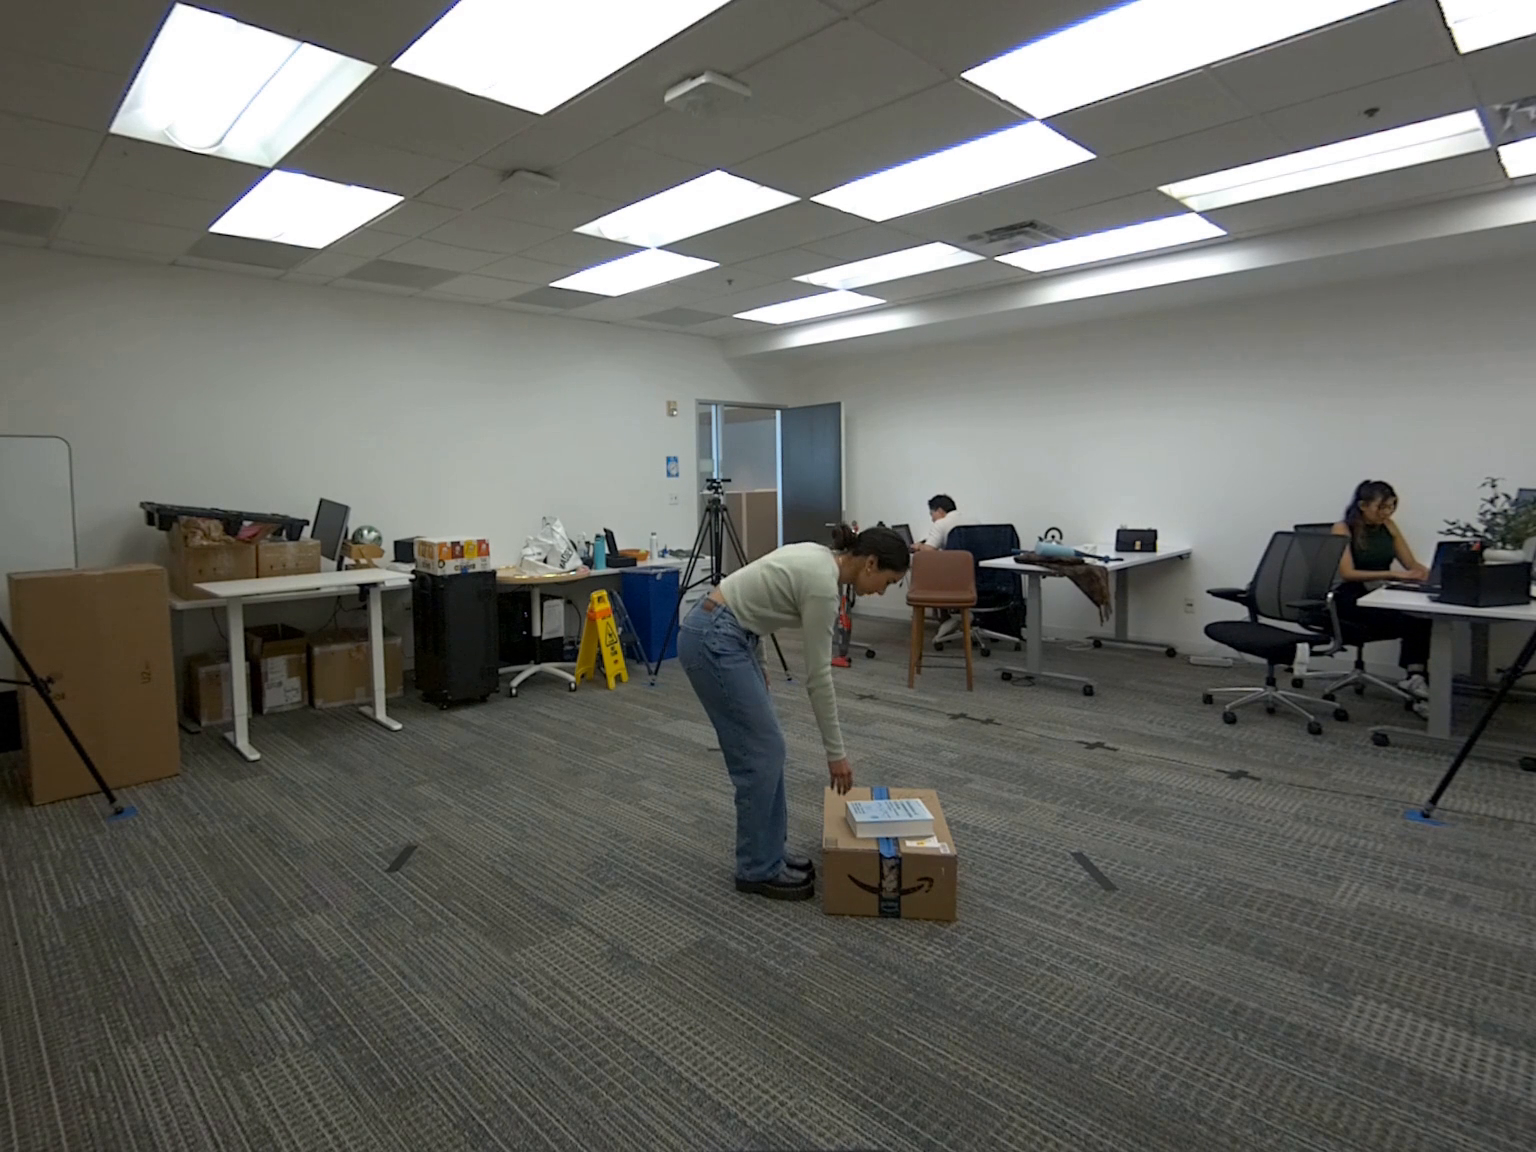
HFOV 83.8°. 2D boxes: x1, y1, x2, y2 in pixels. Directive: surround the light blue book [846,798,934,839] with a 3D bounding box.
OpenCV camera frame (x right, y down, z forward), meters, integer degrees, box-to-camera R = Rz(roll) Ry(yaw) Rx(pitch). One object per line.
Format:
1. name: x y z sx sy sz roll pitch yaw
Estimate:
1. light blue book: 0.408 0.813 2.901 0.260 0.059 0.193 -2 6 -3
